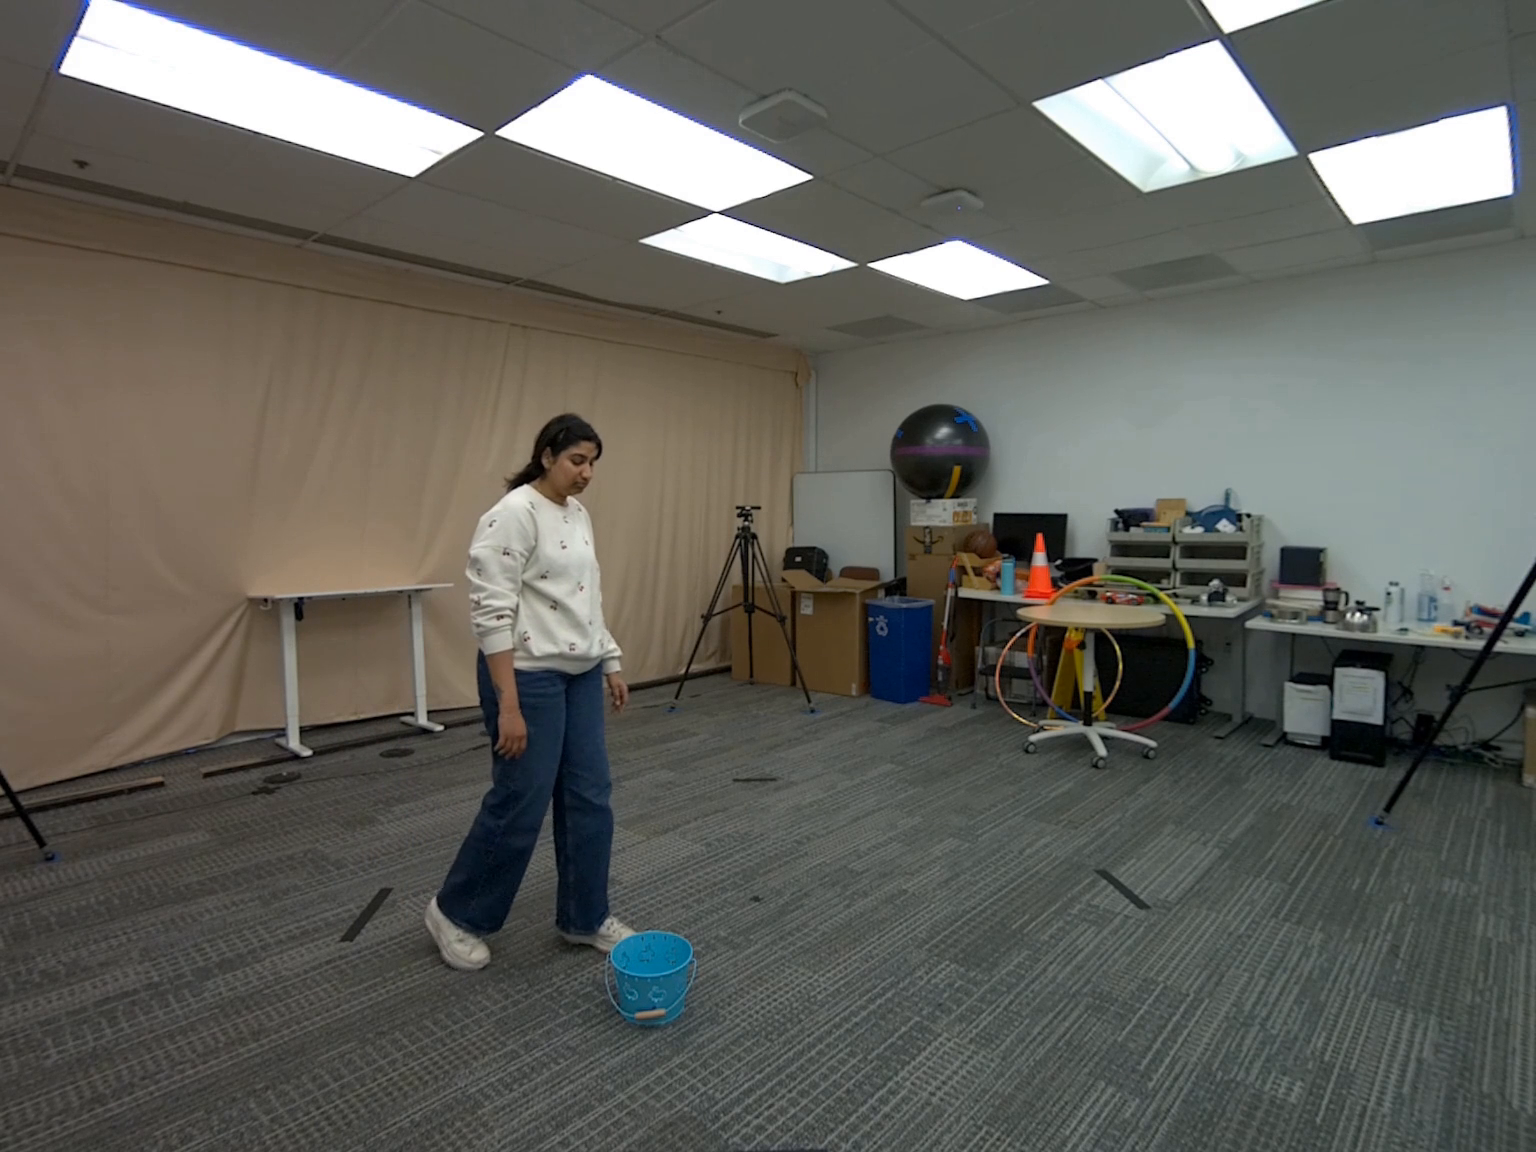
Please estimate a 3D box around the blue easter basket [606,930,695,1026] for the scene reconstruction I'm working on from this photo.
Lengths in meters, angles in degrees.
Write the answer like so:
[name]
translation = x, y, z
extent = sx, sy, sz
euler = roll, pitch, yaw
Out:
[blue easter basket]
translation = -0.326, 1.121, 2.341
extent = 0.243, 0.155, 0.244
euler = -1, 3, -2
